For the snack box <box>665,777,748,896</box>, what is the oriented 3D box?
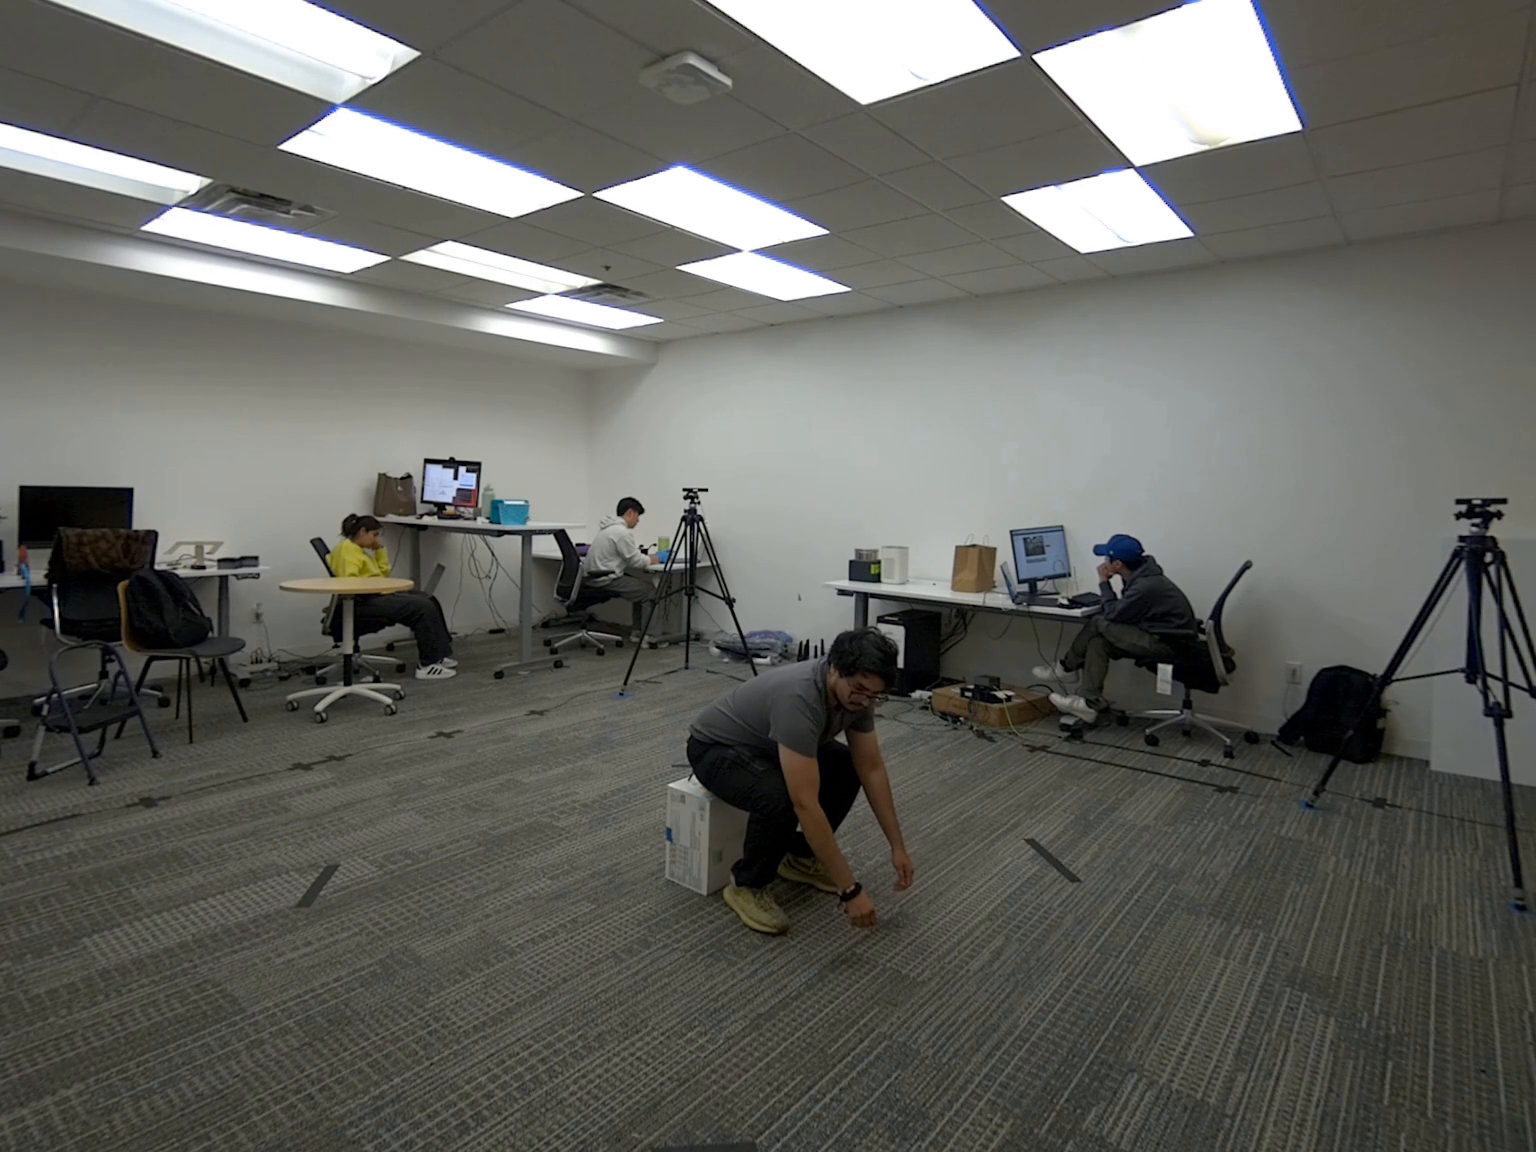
[{"bbox_3d":[-0.171,0.900,3.106,0.212,0.339,0.393,4,6,38],"label":"snack box"}]
